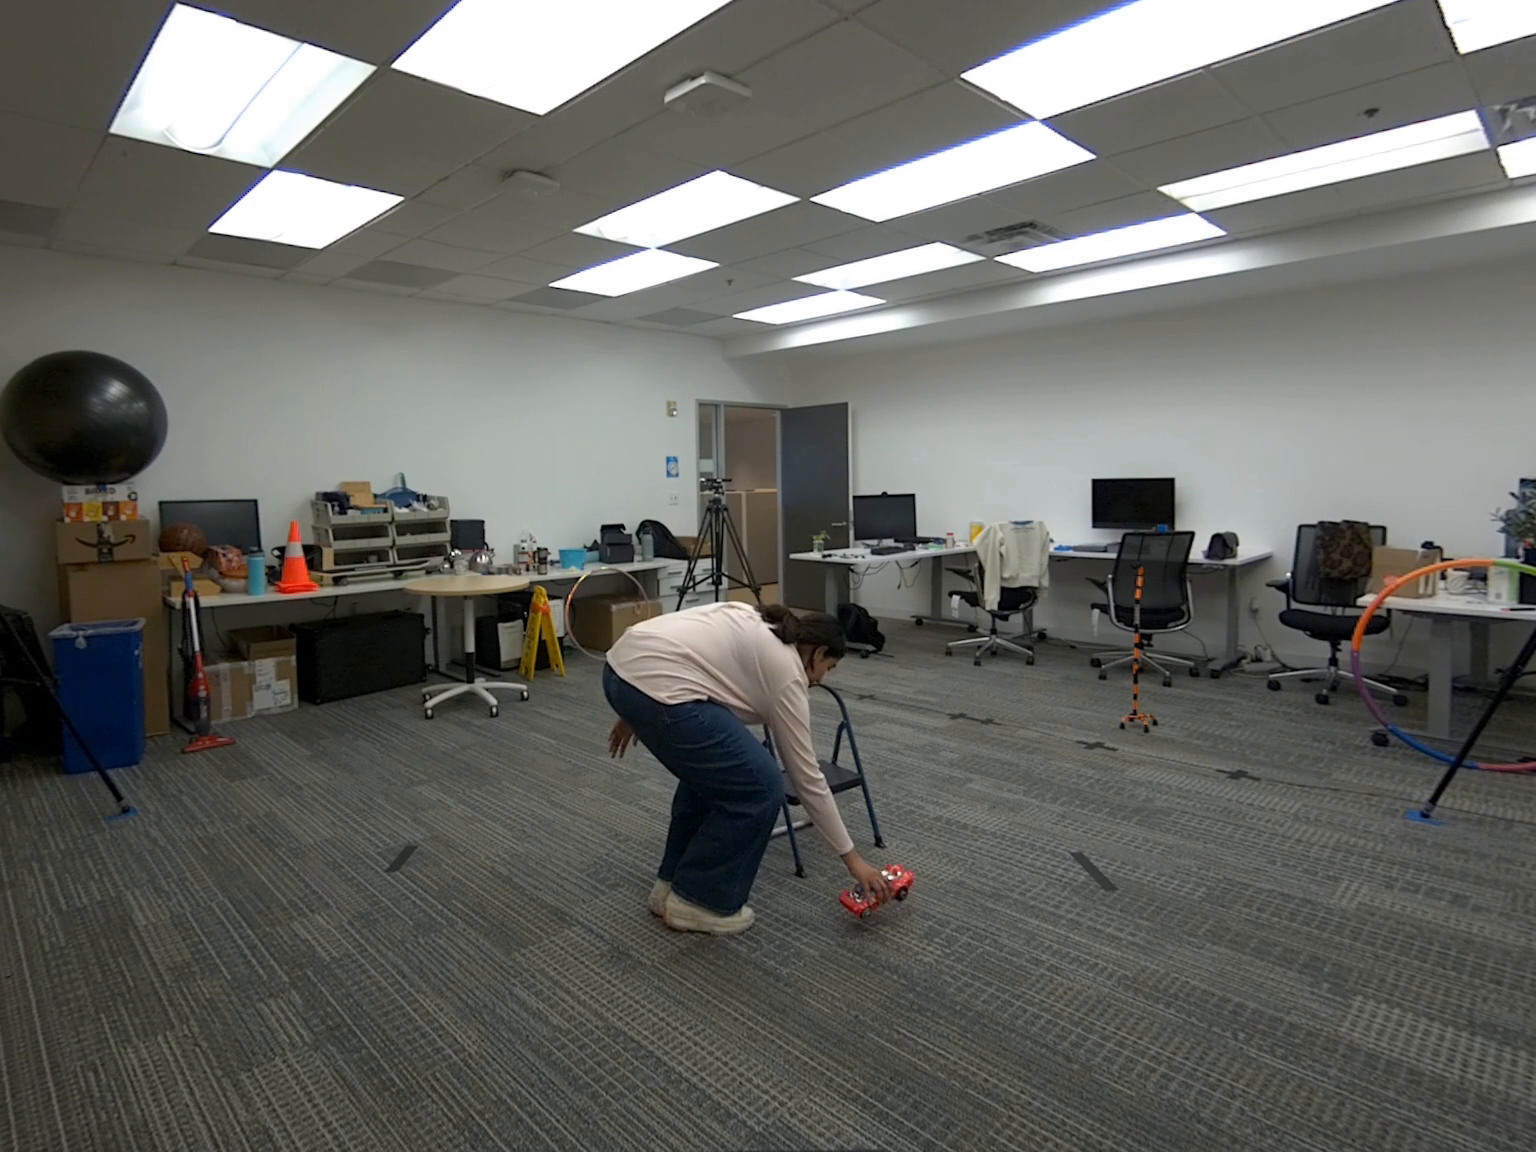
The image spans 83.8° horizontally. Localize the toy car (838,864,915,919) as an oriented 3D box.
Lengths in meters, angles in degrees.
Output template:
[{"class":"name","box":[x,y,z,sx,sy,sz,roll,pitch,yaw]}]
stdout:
[{"class":"toy car","box":[0.343,0.976,2.681,0.251,0.082,0.134,-24,18,-25]}]
